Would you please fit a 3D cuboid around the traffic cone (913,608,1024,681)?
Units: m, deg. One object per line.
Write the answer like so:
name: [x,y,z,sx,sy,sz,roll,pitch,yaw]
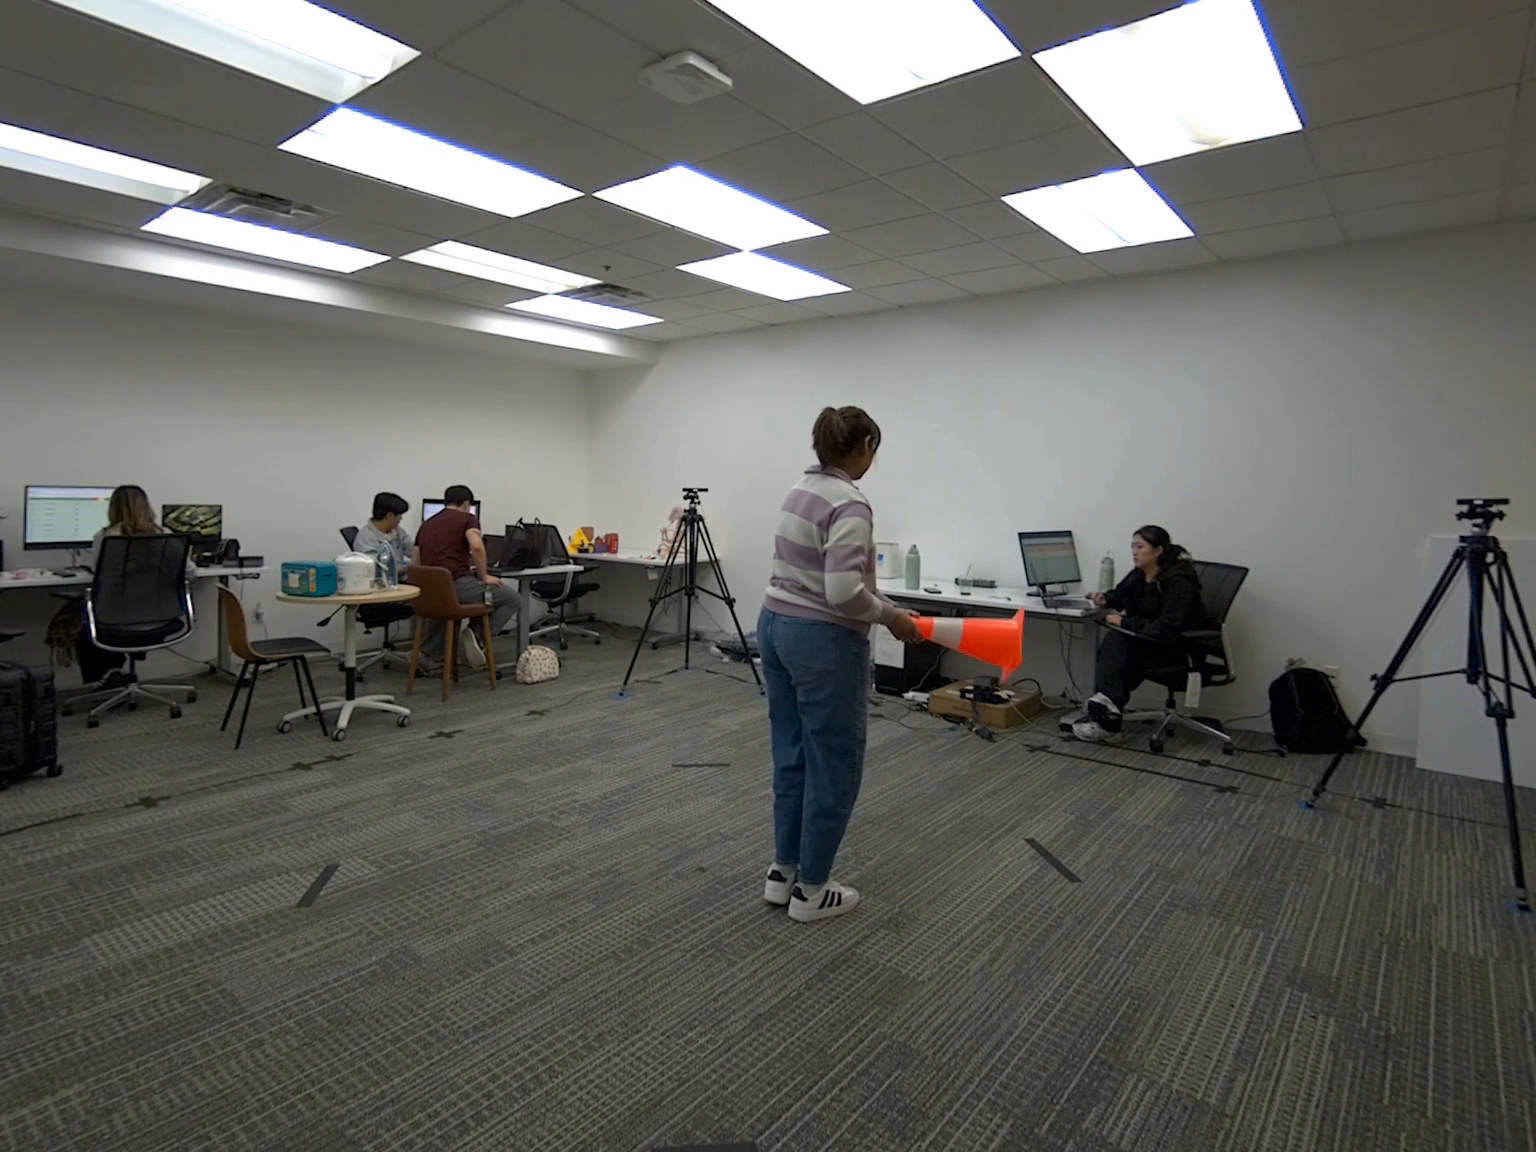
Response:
traffic cone: [0.573,0.188,2.704,0.388,0.206,0.199,10,-26,8]
